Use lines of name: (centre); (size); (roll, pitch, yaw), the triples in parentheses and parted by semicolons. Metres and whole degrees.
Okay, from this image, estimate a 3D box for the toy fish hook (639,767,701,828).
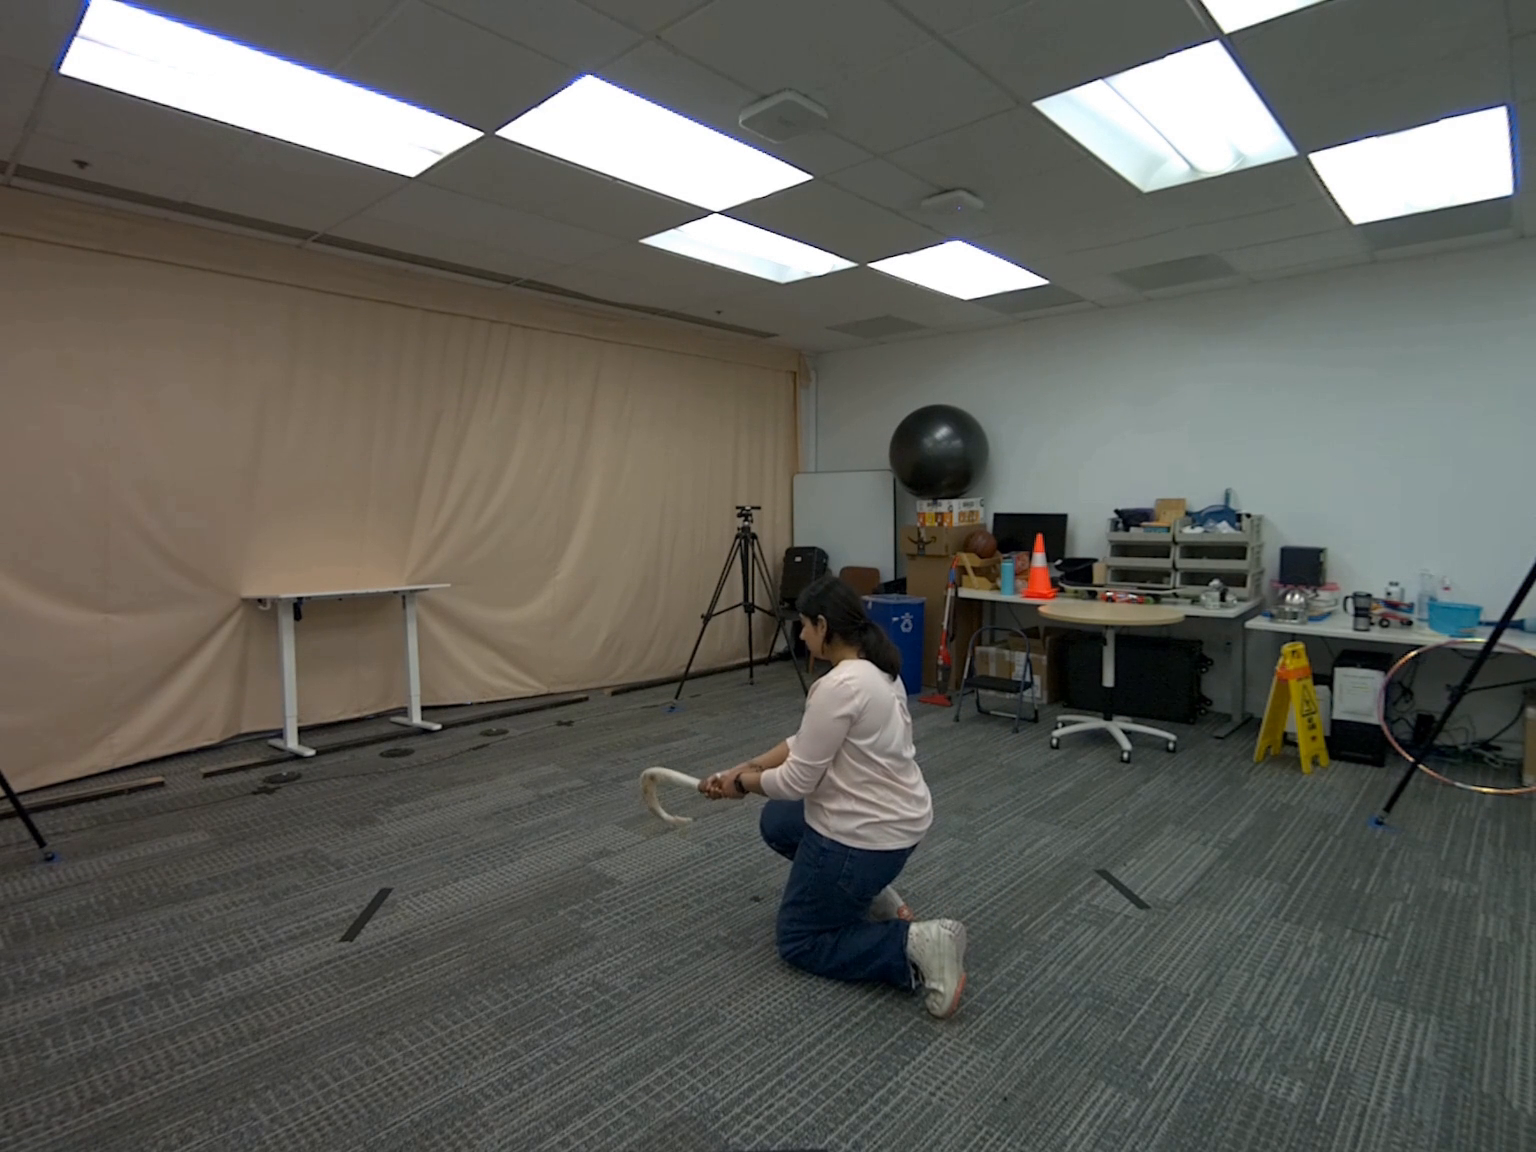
toy fish hook: (-0.245, 0.733, 2.850); (0.521, 0.222, 0.047); (-9, 13, 40)
